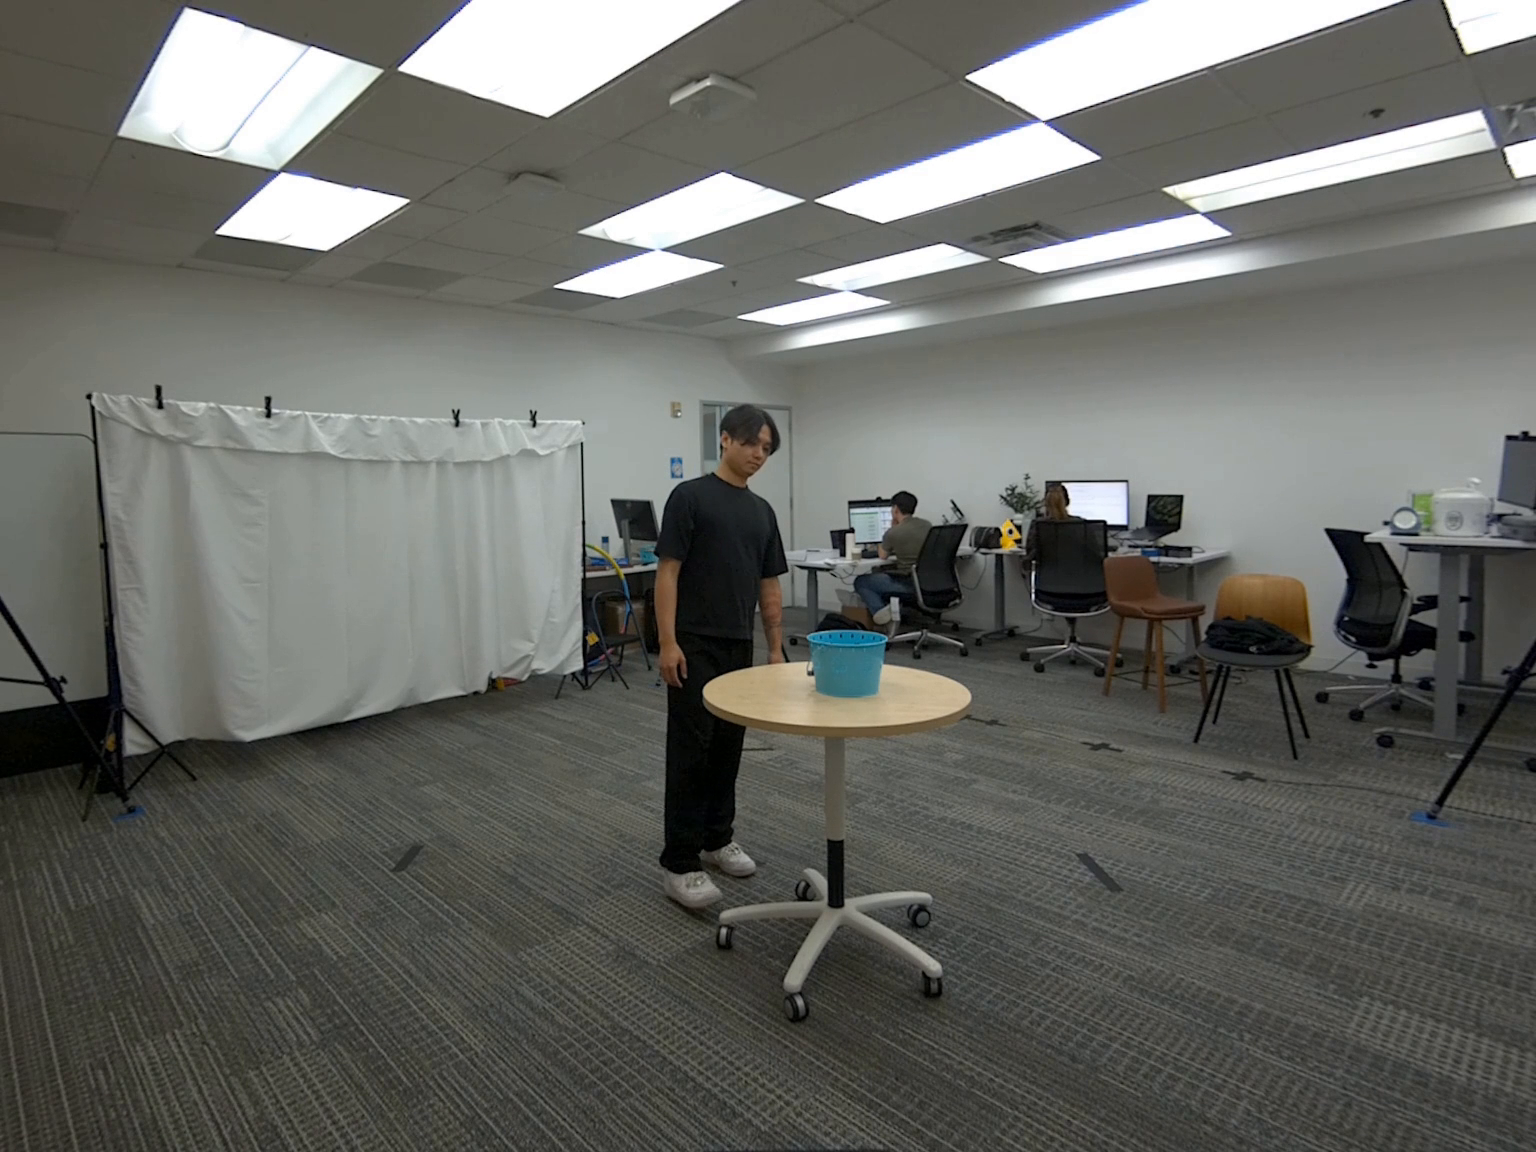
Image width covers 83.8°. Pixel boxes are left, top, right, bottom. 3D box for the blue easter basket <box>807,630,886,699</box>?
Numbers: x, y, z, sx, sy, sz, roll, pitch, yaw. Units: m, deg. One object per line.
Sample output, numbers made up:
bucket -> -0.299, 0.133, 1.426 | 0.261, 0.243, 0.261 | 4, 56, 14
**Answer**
blue easter basket -> 0.238, 0.256, 2.472 | 0.243, 0.155, 0.245 | -1, 5, -2
